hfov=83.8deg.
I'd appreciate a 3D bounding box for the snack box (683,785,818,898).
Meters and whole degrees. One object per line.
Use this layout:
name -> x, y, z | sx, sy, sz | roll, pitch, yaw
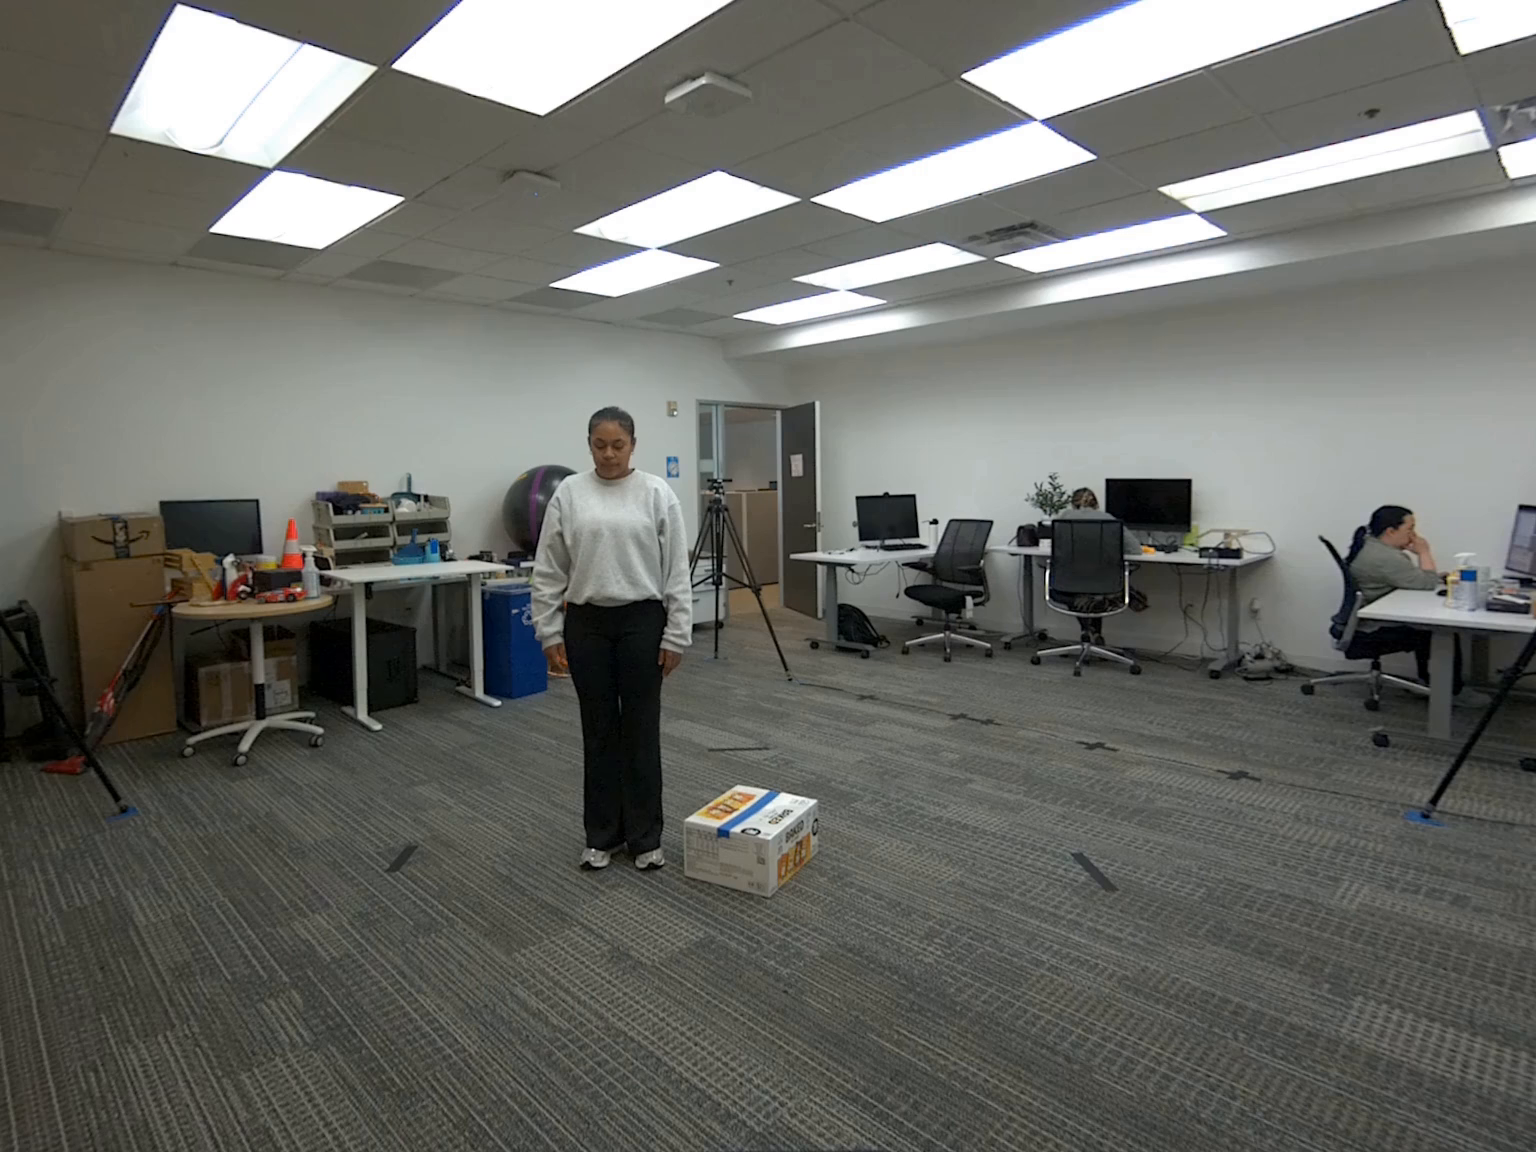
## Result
snack box -> -0.051, 0.947, 3.090 | 0.349, 0.205, 0.397 | 2, 6, 29
